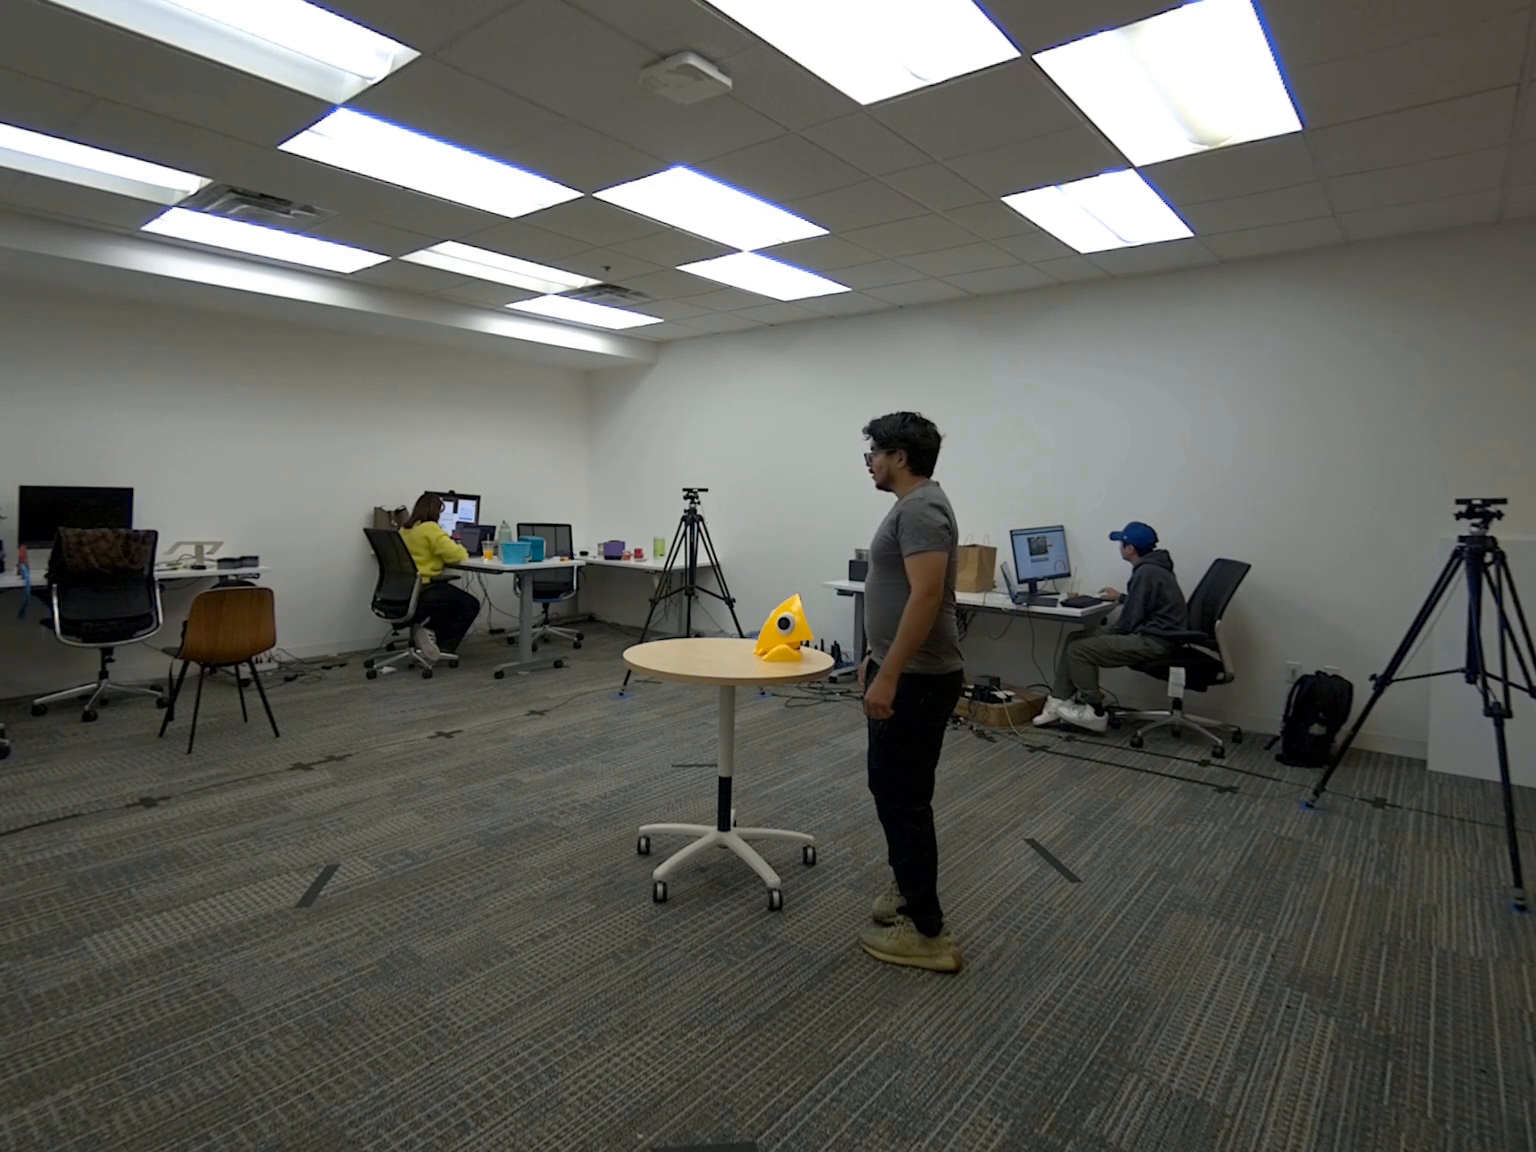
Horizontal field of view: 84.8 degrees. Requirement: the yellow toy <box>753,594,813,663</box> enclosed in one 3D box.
[{"bbox_3d":[0.039,0.177,3.111,0.190,0.230,0.209,2,4,-15],"label":"yellow toy"}]
